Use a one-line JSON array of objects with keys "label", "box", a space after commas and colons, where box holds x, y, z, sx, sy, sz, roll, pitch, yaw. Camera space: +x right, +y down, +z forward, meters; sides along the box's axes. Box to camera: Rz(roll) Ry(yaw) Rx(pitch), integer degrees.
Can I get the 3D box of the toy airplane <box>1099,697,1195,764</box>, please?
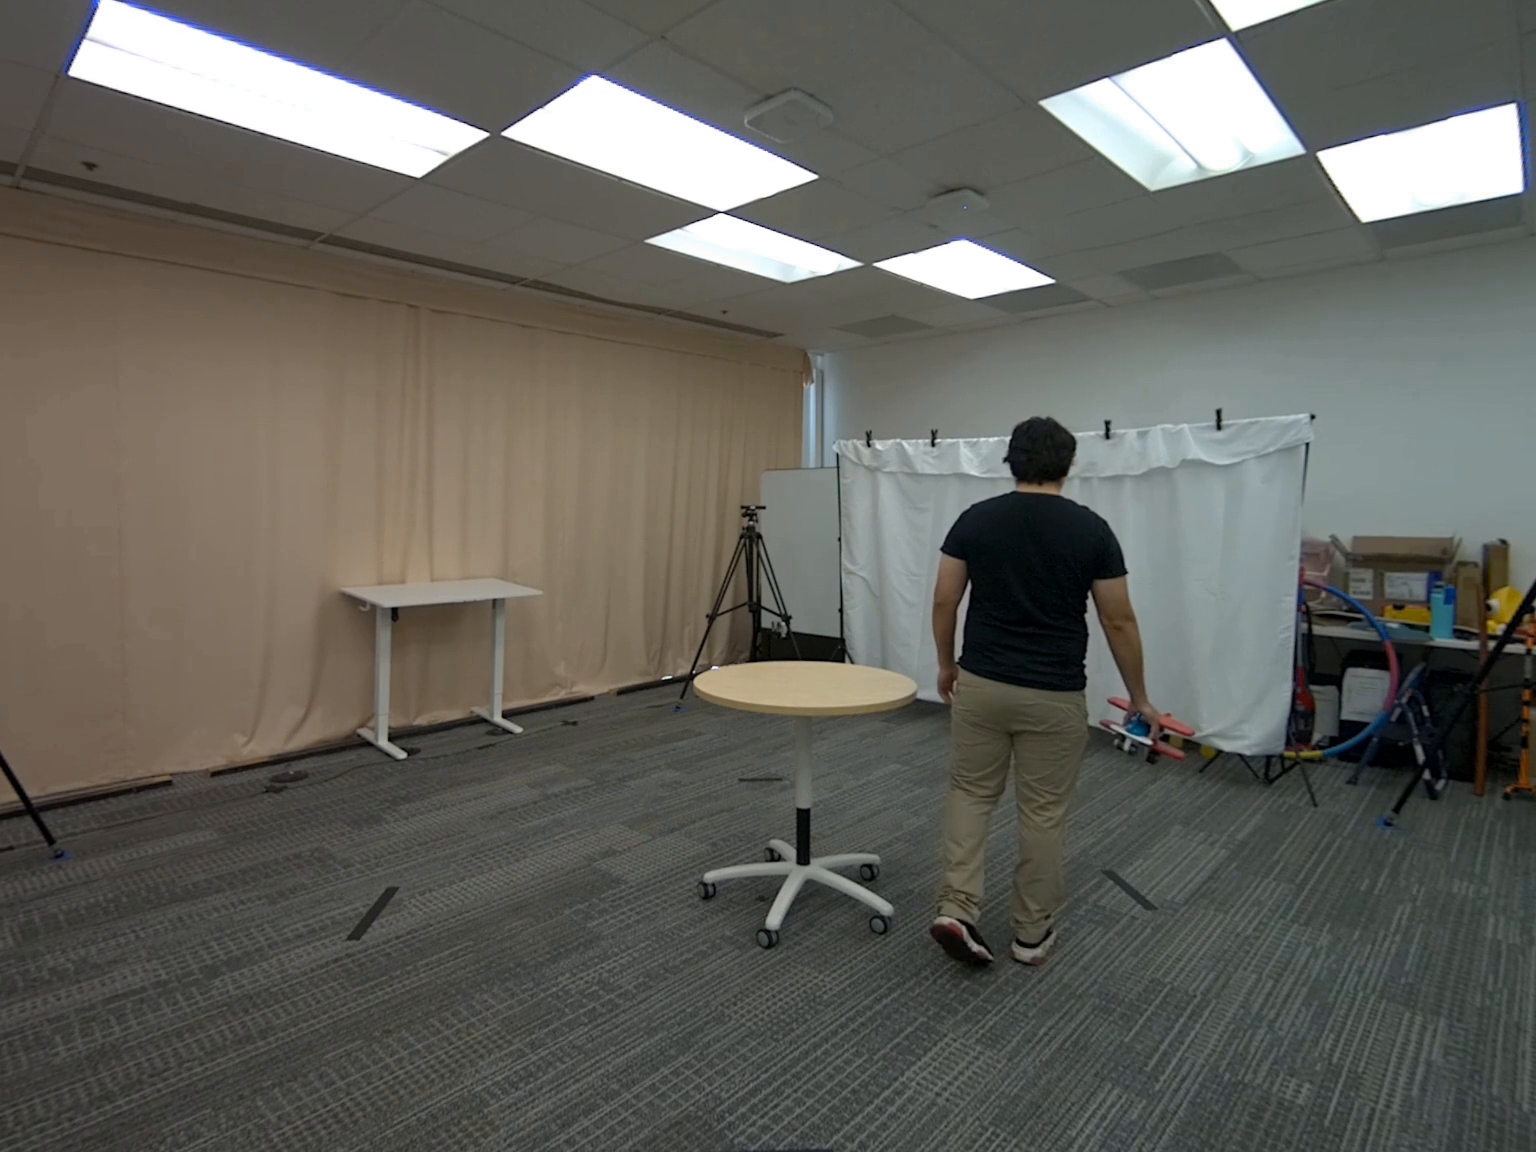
[{"label": "toy airplane", "box": [1.175, 0.493, 2.580, 0.254, 0.156, 0.256, 23, -2, 10]}]
